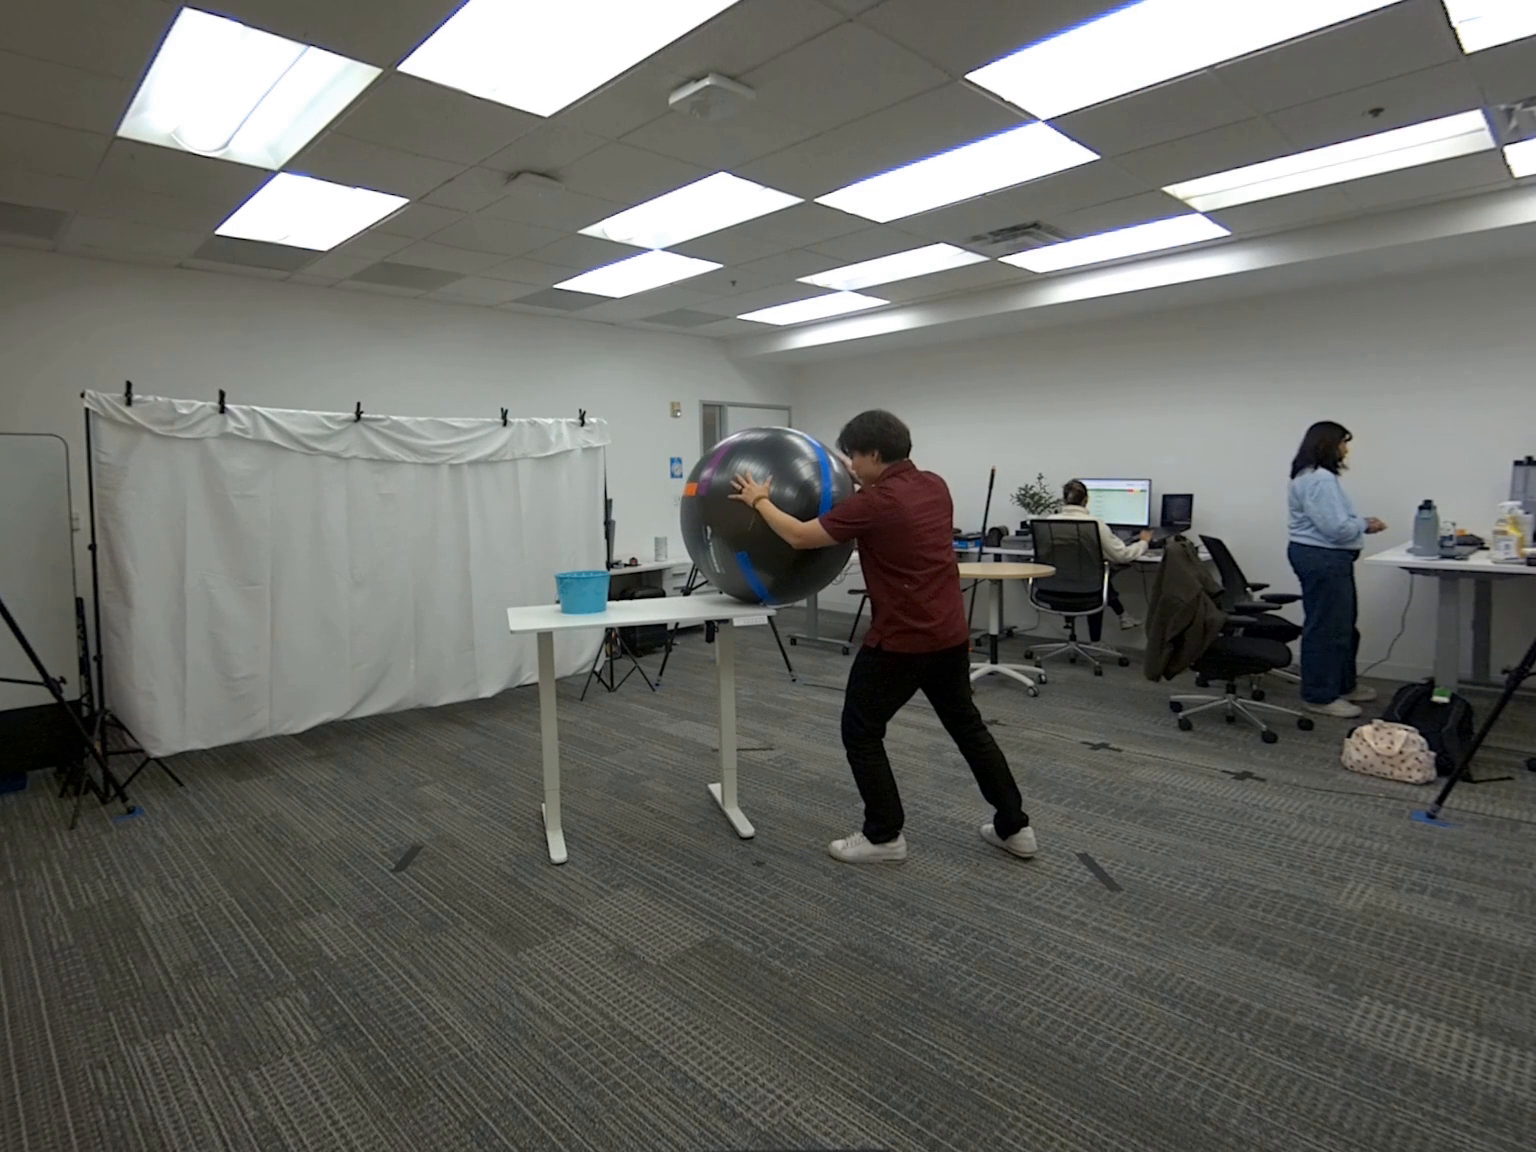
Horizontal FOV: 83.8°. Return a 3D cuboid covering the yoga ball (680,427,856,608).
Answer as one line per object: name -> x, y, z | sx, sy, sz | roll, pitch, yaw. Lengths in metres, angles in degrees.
yoga ball -> 0.005, -0.246, 3.619 | 0.757, 0.755, 0.762 | -1, 5, -2
